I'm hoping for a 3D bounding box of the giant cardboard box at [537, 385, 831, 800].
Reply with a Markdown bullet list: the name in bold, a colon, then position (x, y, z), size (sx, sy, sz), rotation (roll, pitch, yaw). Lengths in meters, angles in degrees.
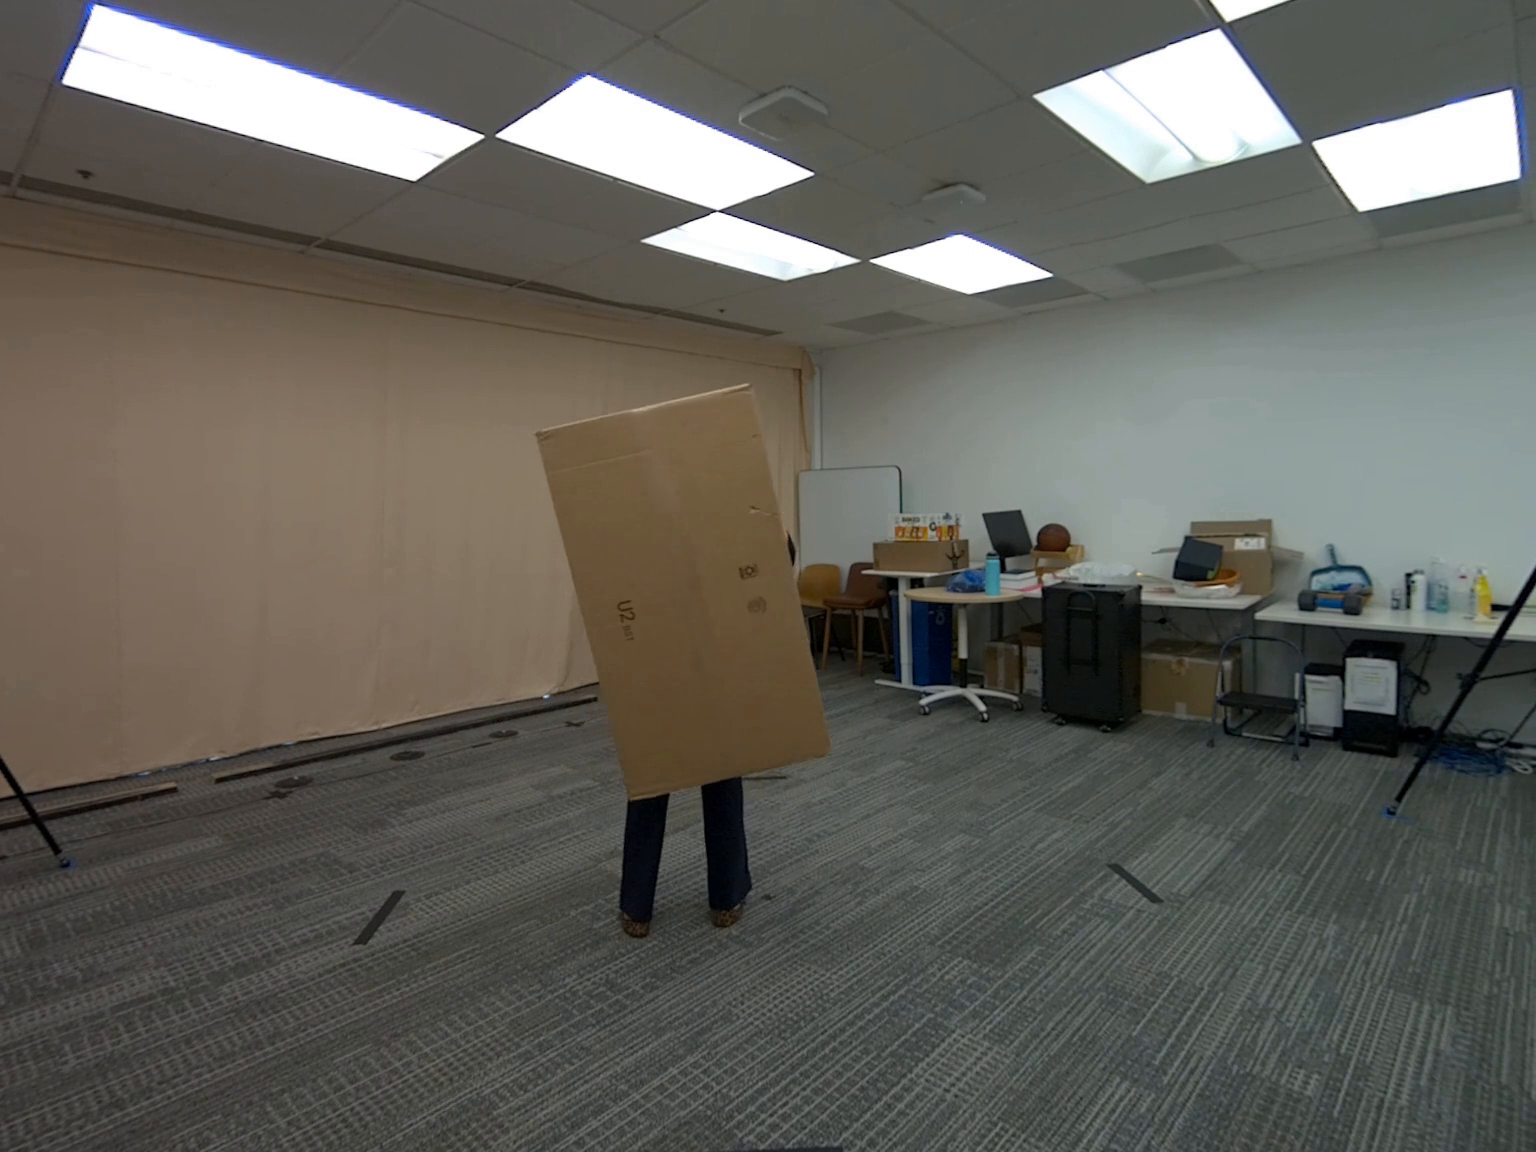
- **giant cardboard box**: position (-0.232, 0.024, 2.431), size (0.576, 1.019, 0.430), rotation (-13, 8, -3)
